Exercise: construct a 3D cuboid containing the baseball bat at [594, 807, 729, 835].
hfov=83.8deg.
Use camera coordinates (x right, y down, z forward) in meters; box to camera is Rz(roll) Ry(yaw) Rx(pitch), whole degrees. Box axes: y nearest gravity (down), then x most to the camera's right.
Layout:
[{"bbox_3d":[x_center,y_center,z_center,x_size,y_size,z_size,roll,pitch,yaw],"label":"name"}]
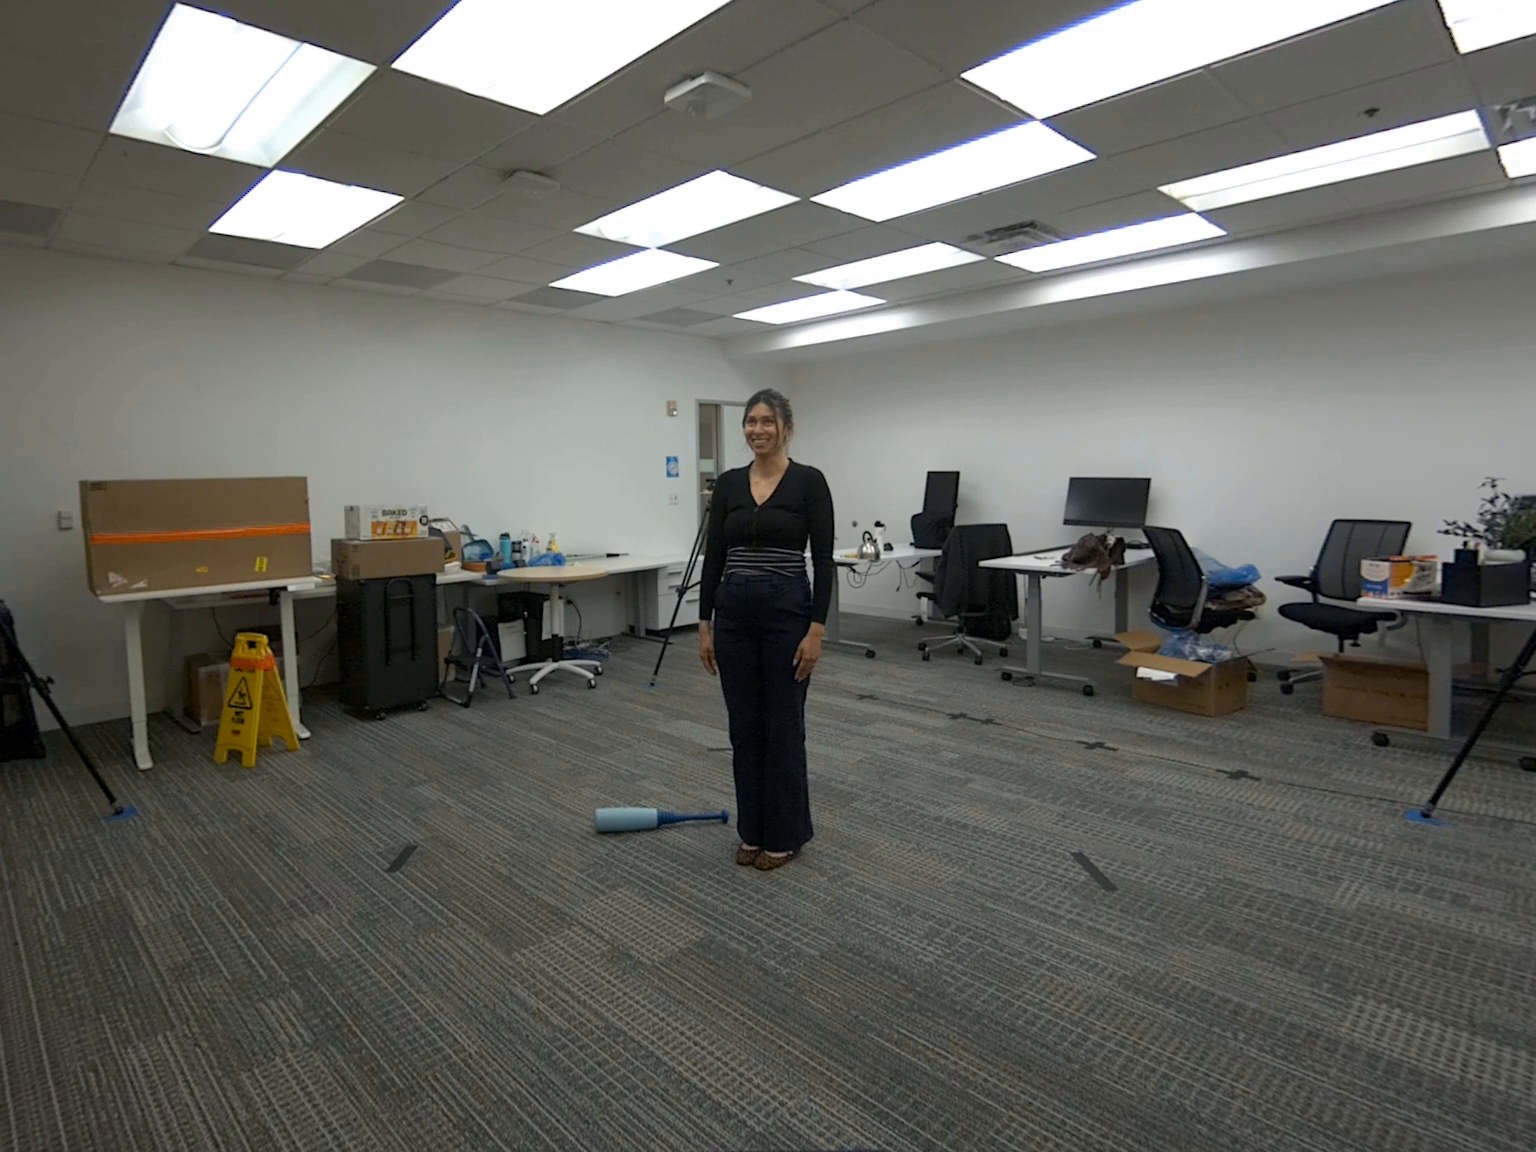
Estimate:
[{"bbox_3d":[-0.429,0.980,3.438,0.538,0.089,0.090,1,4,-9],"label":"baseball bat"}]
